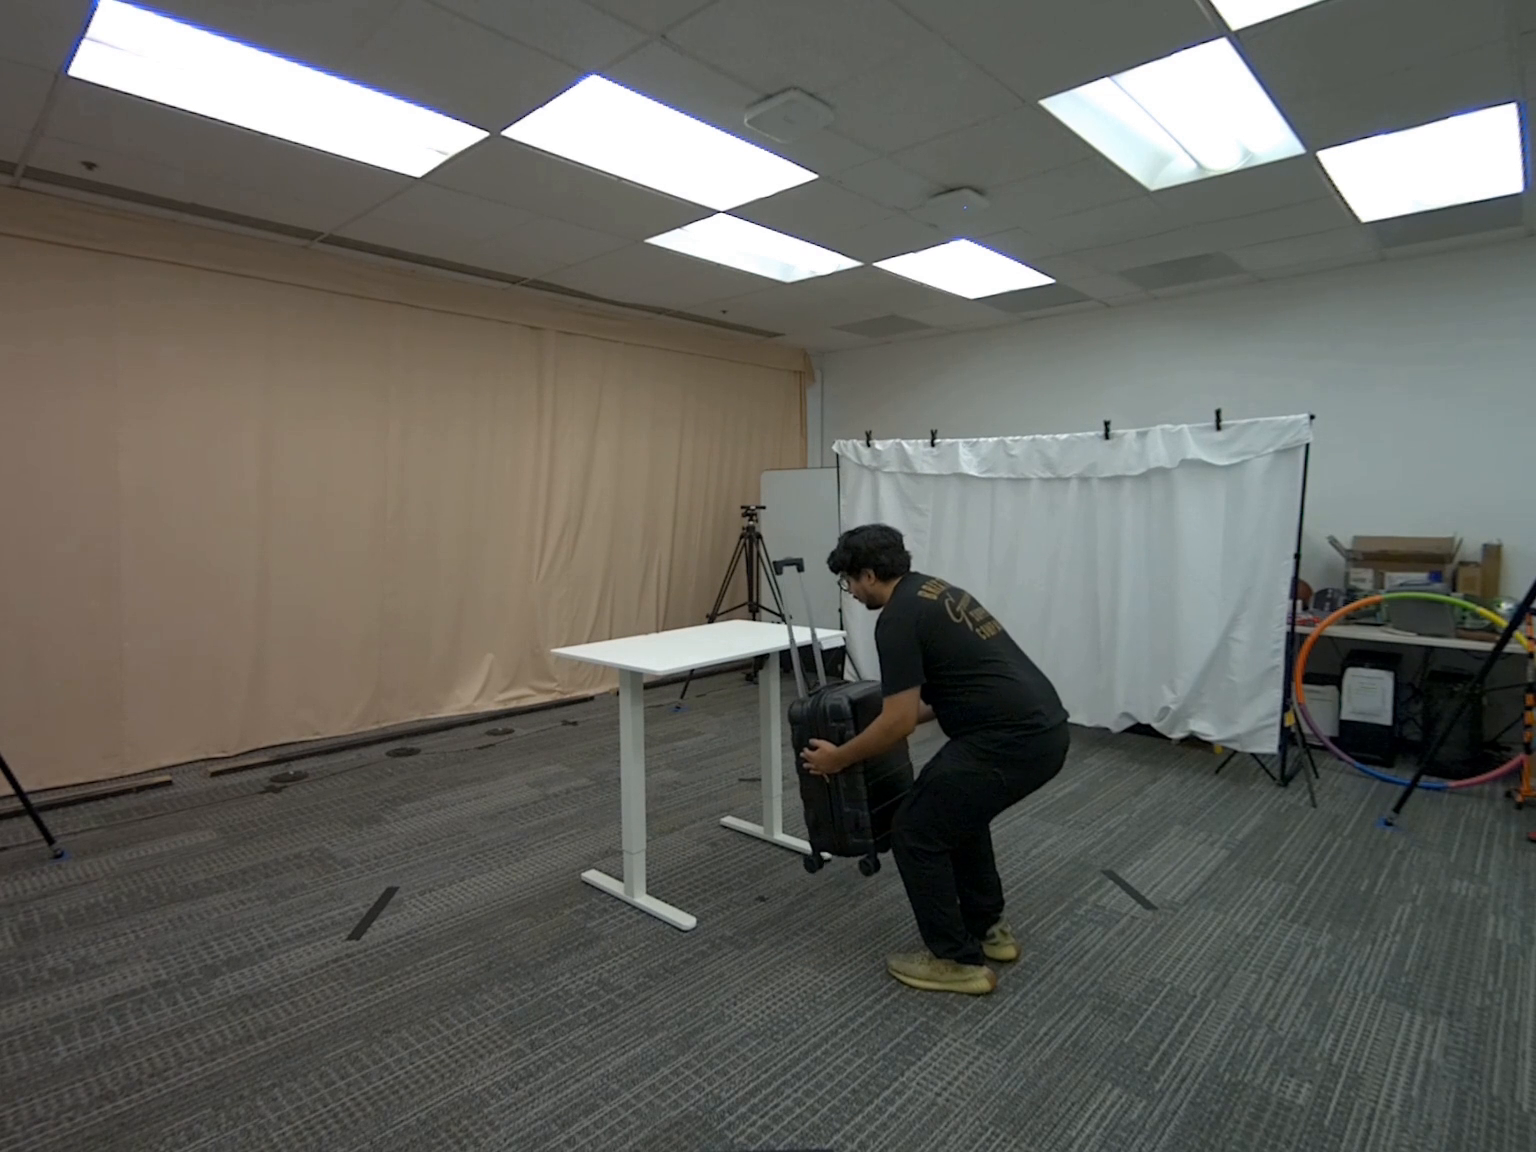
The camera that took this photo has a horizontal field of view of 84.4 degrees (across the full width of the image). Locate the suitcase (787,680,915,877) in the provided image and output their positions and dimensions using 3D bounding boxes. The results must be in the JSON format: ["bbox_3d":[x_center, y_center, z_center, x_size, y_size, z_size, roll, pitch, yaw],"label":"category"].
[{"bbox_3d":[0.252,0.420,2.716,0.264,0.982,0.372,-13,-7,43],"label":"suitcase"}]
